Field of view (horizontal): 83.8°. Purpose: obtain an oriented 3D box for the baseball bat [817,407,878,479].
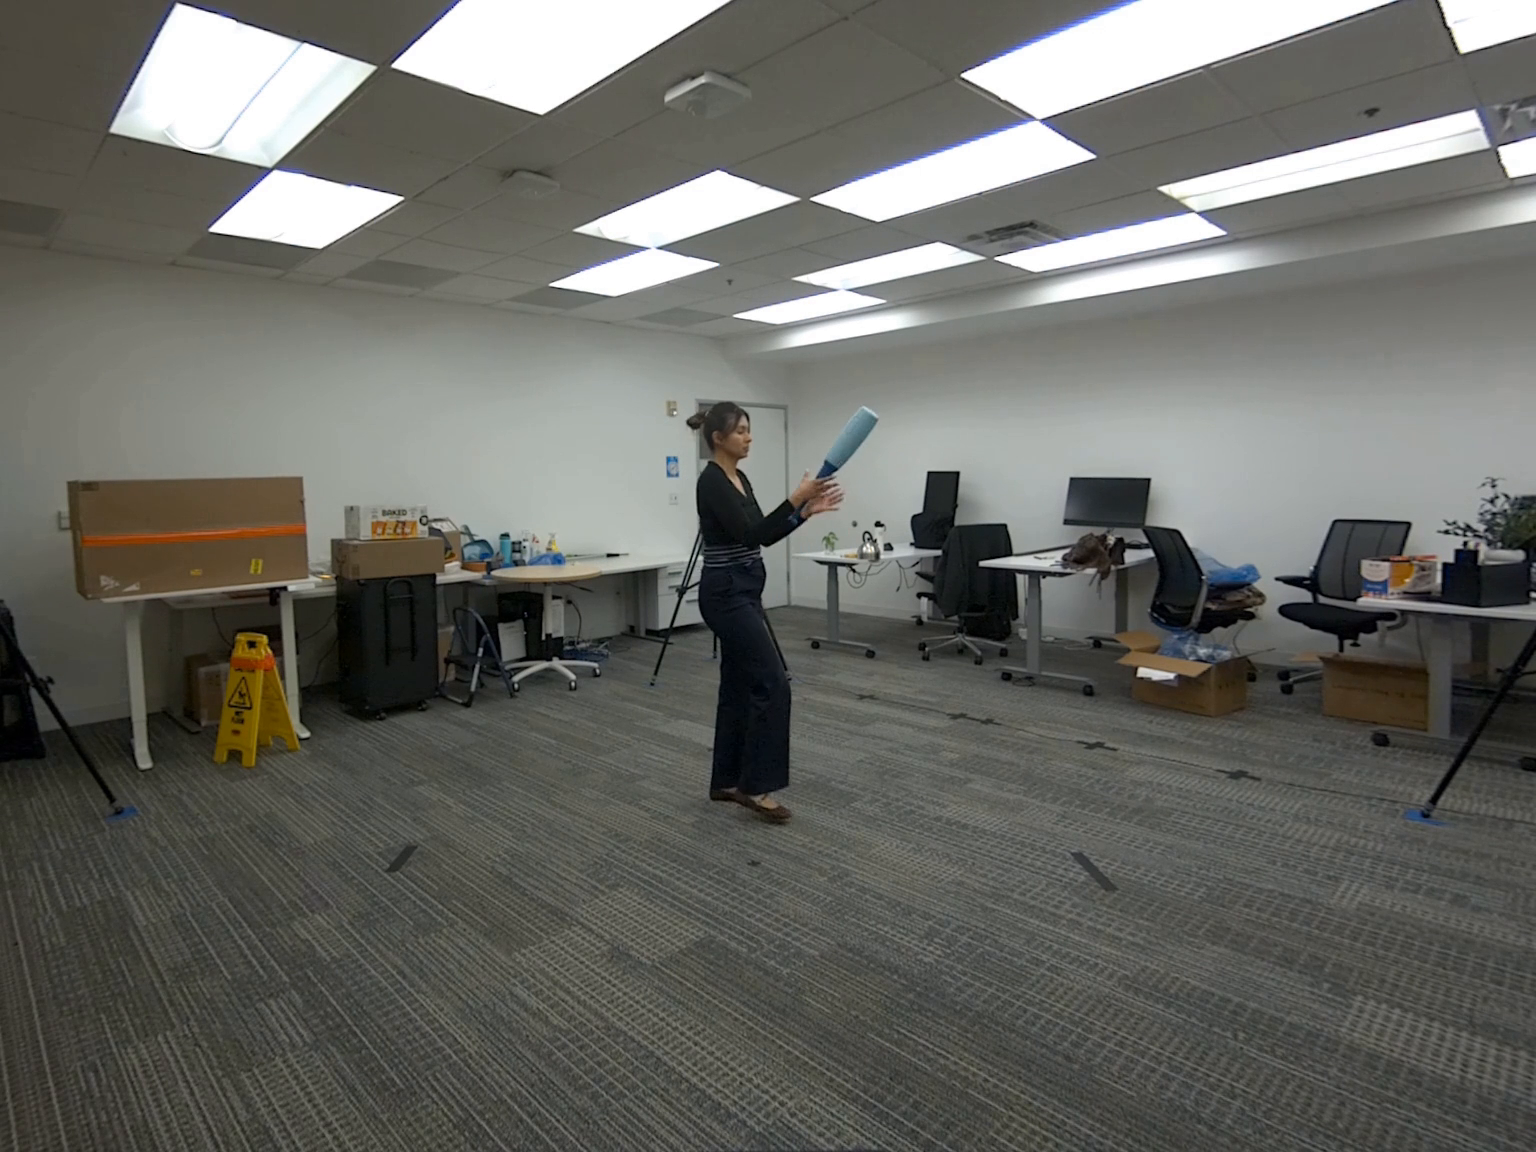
[{"bbox_3d":[0.245,-0.384,3.347,0.088,0.541,0.091,32,17,-13],"label":"baseball bat"}]
